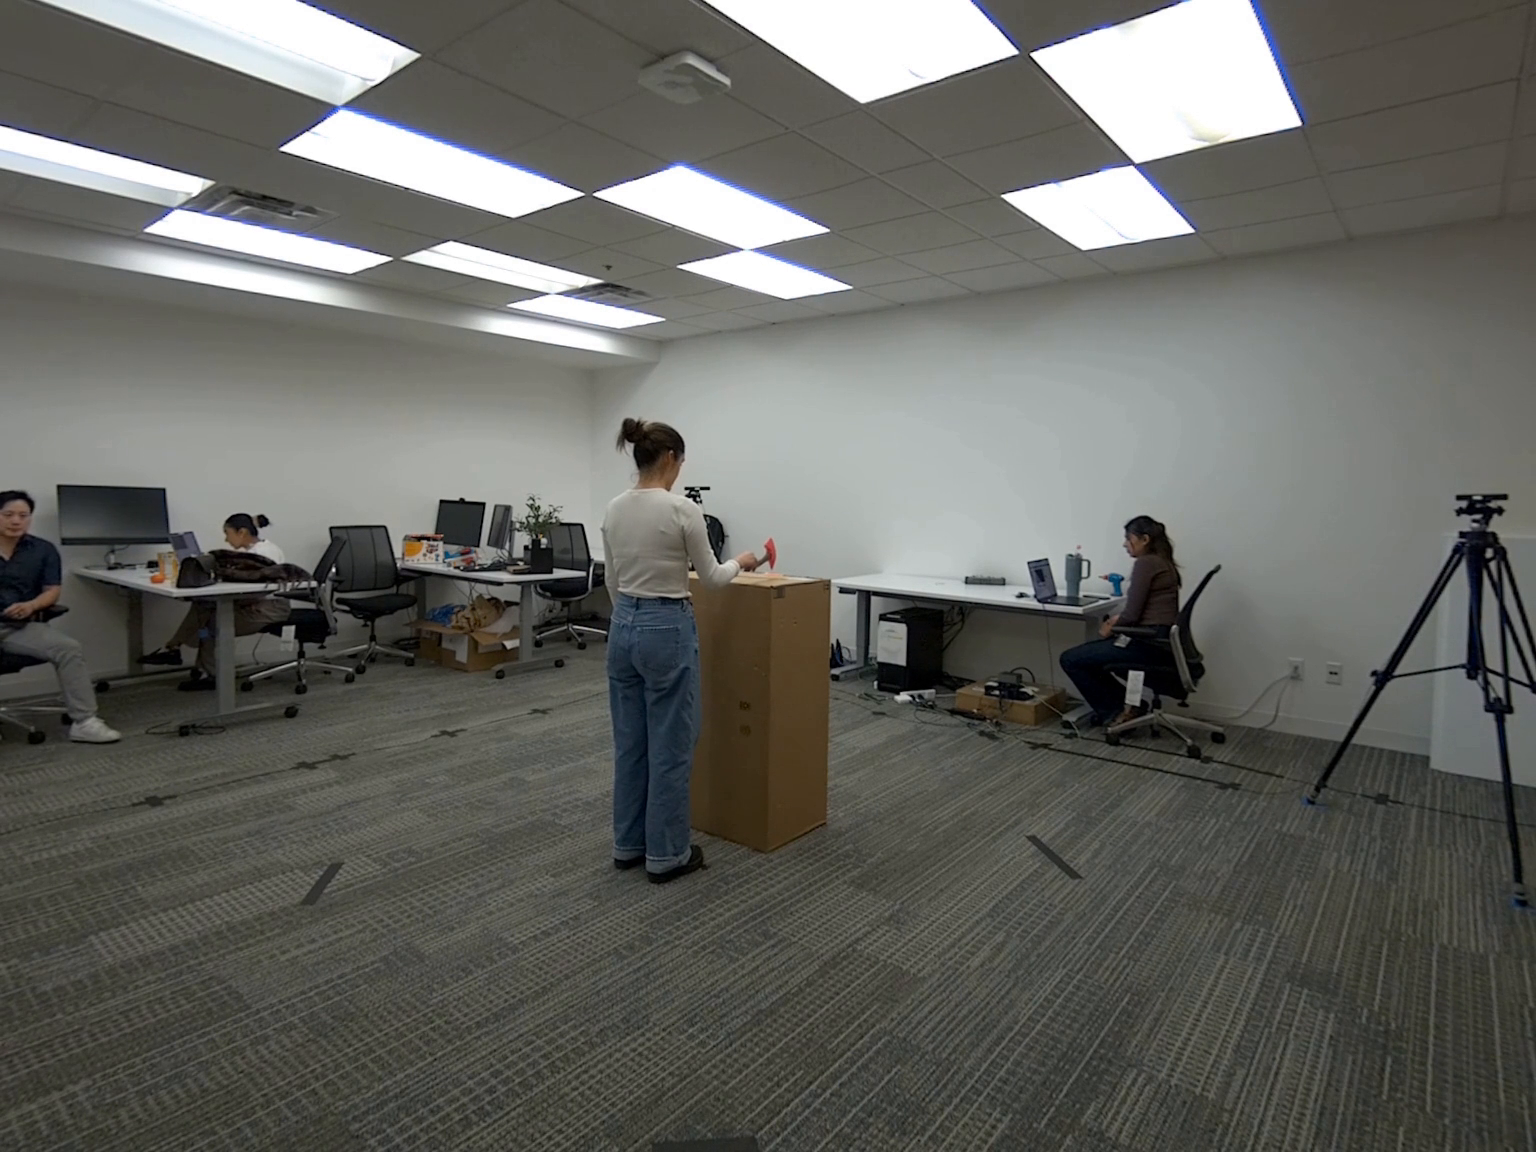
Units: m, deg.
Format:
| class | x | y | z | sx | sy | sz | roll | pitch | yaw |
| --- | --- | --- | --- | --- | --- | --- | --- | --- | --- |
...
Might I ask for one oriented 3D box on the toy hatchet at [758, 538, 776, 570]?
| class | x | y | z | sx | sy | sz | roll | pitch | yaw |
| --- | --- | --- | --- | --- | --- | --- | --- | --- | --- |
| toy hatchet | -0.033 | -0.091 | 3.385 | 0.030 | 0.131 | 0.263 | 6 | 2 | 22 |
